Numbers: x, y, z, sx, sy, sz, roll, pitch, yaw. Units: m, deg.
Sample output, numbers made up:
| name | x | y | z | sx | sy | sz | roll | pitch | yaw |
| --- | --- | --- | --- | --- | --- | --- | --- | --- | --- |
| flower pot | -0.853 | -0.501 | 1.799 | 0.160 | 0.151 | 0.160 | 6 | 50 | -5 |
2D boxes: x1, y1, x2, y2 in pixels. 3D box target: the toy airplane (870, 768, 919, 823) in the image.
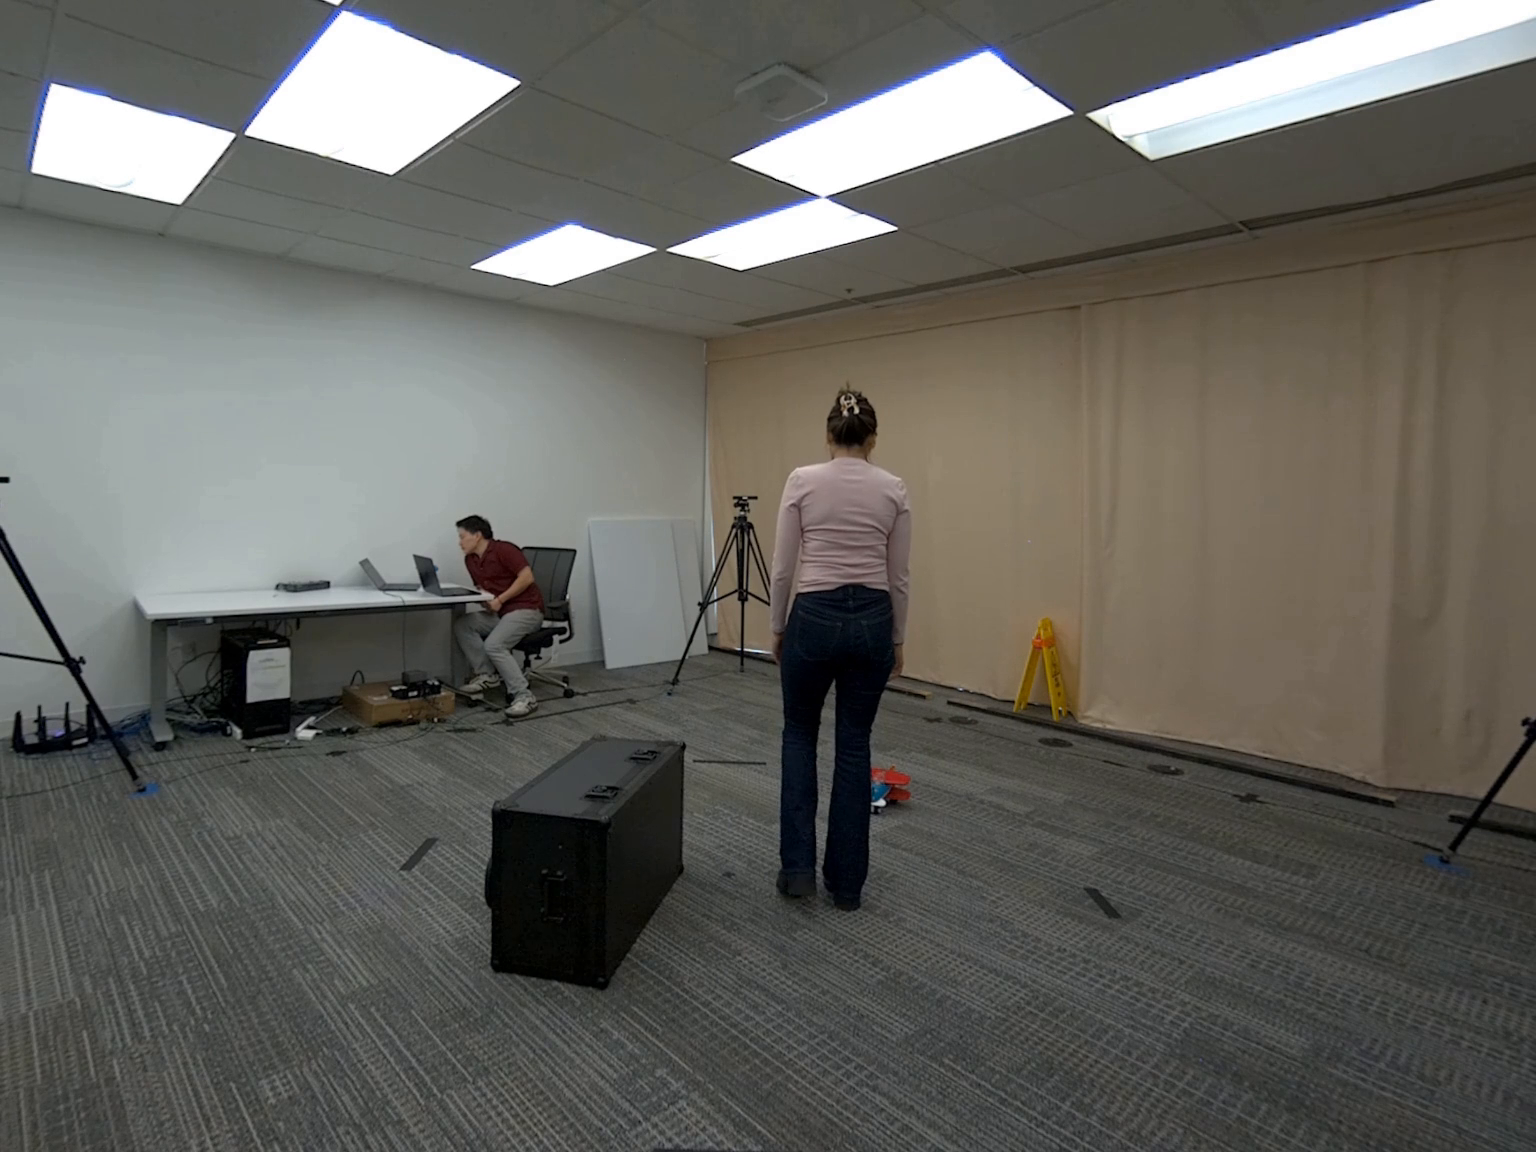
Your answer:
| name | x | y | z | sx | sy | sz | roll | pitch | yaw |
| --- | --- | --- | --- | --- | --- | --- | --- | --- | --- |
| toy airplane | 0.523 | 0.988 | 3.837 | 0.251 | 0.156 | 0.260 | 2 | 4 | -2 |
